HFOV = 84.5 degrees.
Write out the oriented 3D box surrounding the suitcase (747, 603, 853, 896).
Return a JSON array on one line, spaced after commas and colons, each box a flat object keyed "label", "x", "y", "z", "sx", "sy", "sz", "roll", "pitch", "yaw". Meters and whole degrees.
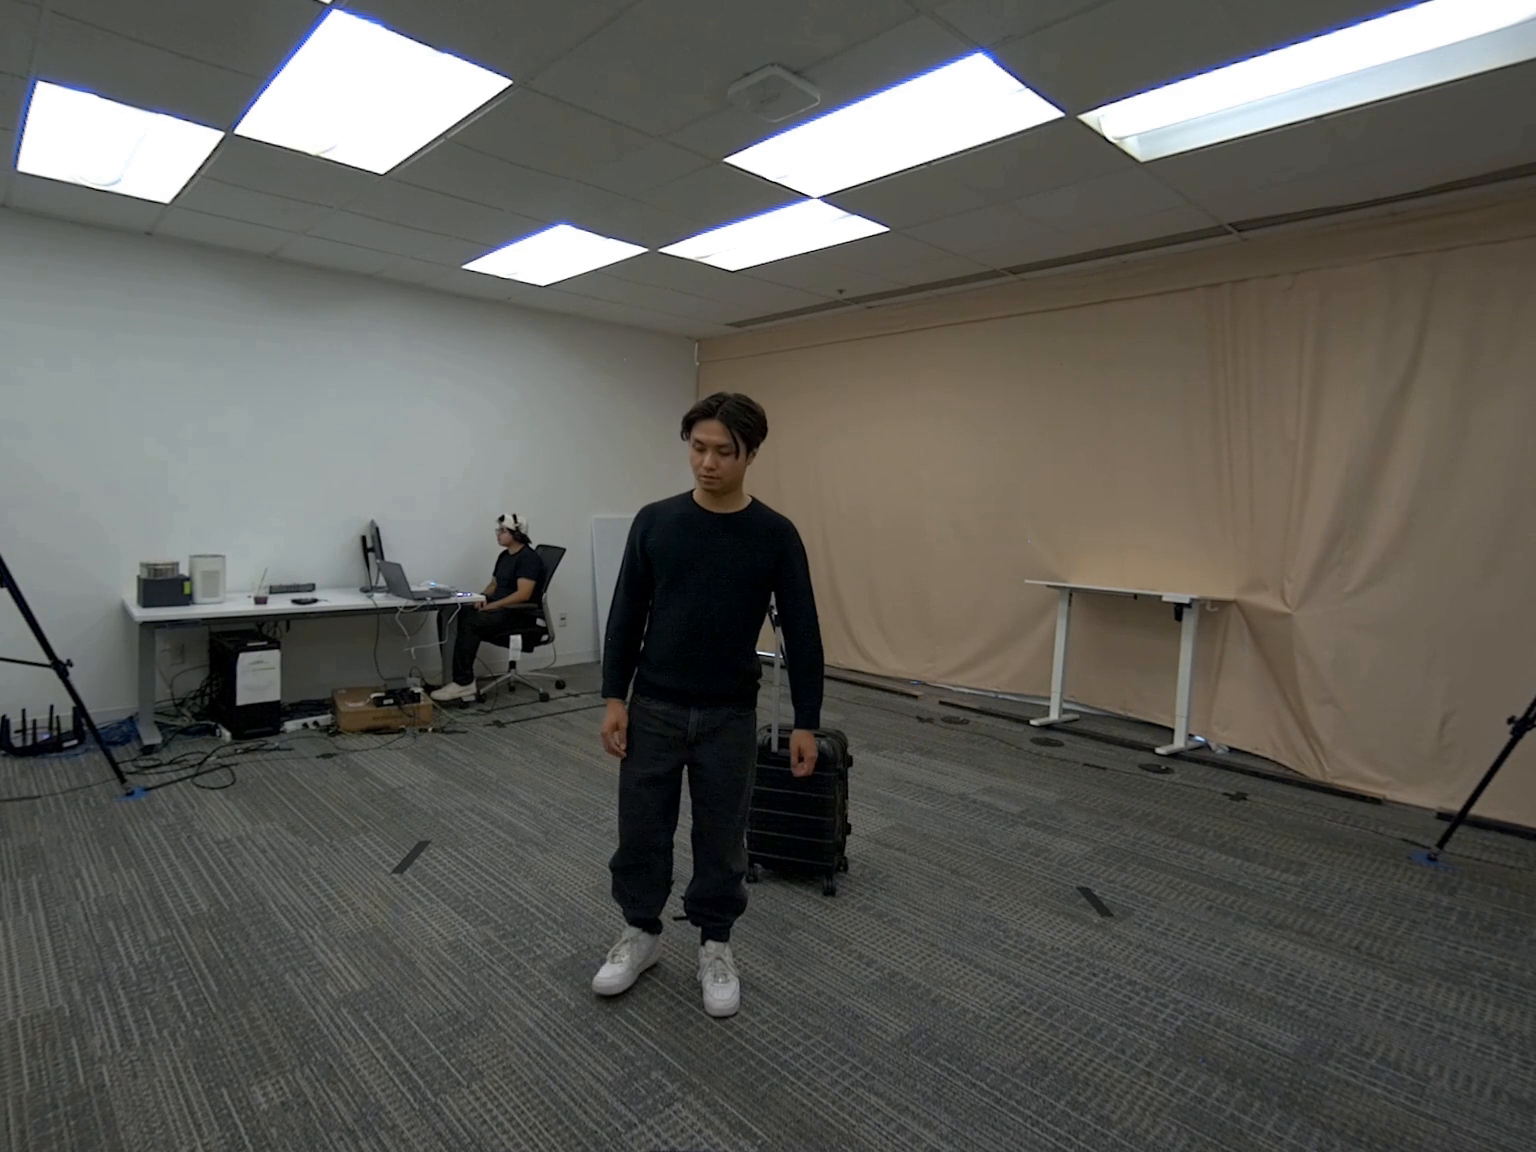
[{"label": "suitcase", "x": 0.109, "y": 0.634, "z": 3.125, "sx": 0.390, "sy": 0.978, "sz": 0.253, "roll": 2, "pitch": 1, "yaw": 18}]
